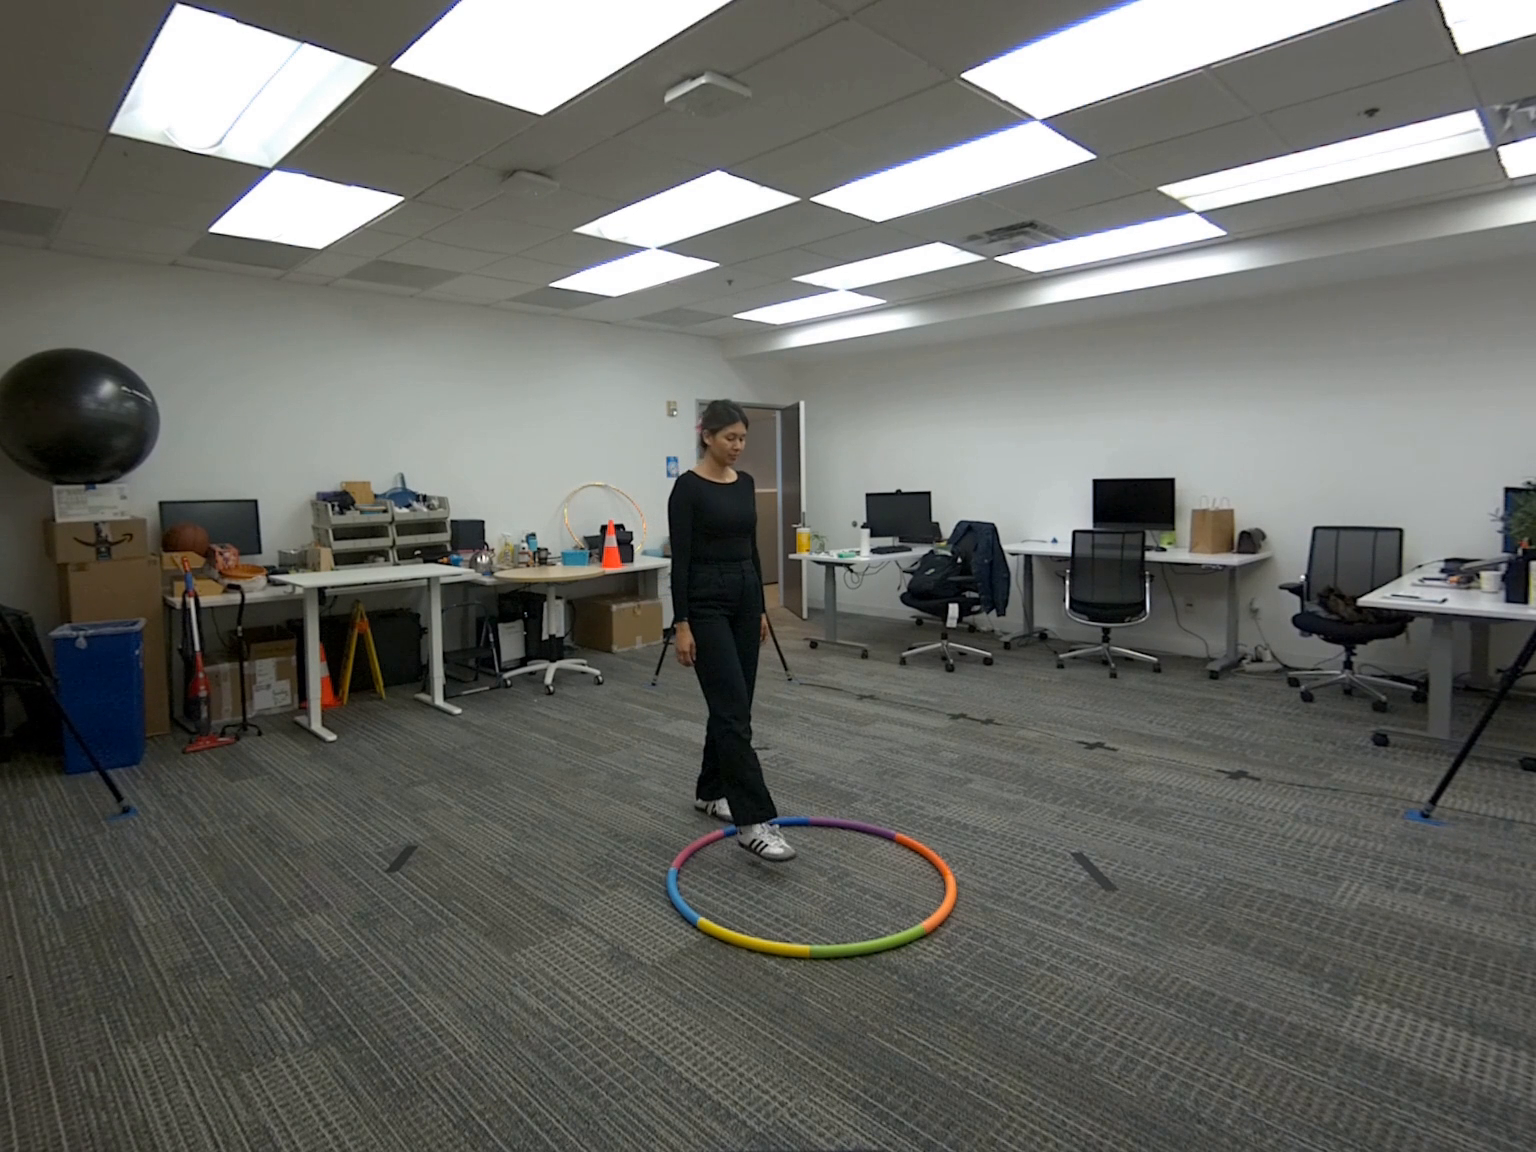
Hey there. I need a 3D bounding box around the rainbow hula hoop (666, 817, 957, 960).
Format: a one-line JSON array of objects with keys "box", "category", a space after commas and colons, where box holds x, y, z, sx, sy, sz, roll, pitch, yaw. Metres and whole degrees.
[{"box": [0.143, 1.031, 2.963, 0.978, 0.035, 0.984, -2, 6, -2], "category": "rainbow hula hoop"}]
